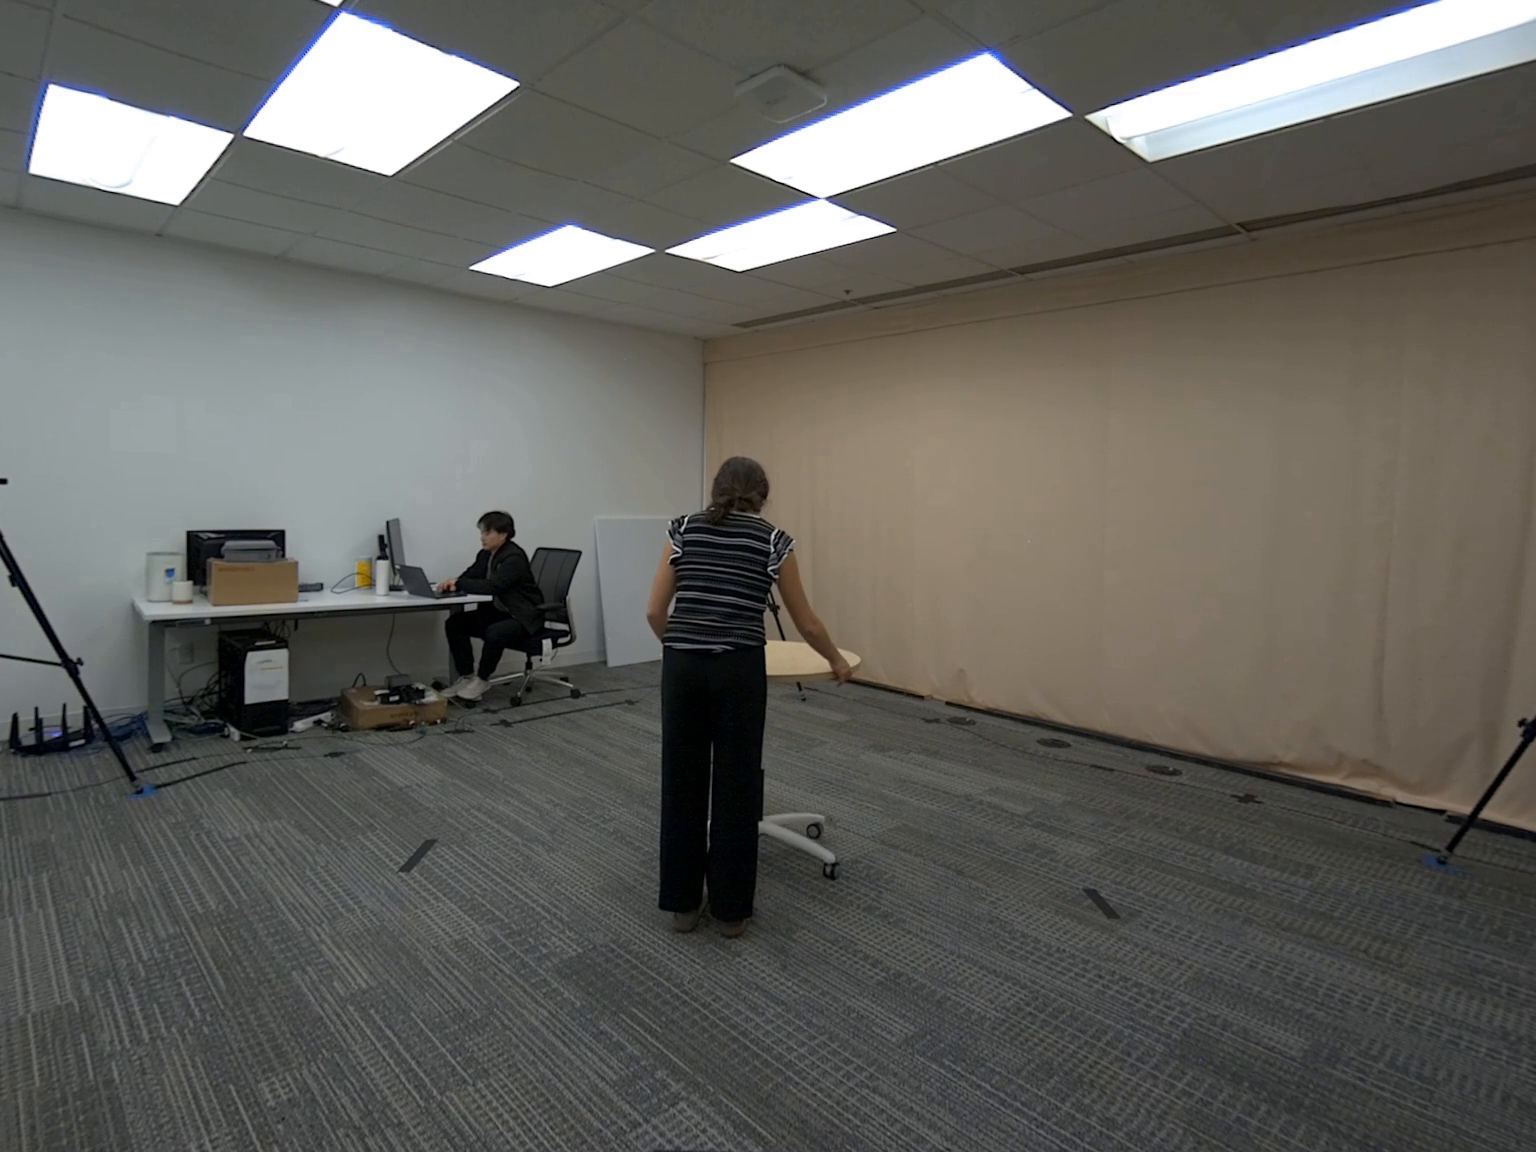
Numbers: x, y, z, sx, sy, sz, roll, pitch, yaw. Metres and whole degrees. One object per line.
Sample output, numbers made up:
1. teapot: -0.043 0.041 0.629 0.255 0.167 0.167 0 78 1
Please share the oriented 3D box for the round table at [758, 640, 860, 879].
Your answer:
1. round table: -0.030 0.700 3.284 0.784 0.784 0.787 1 4 -1
